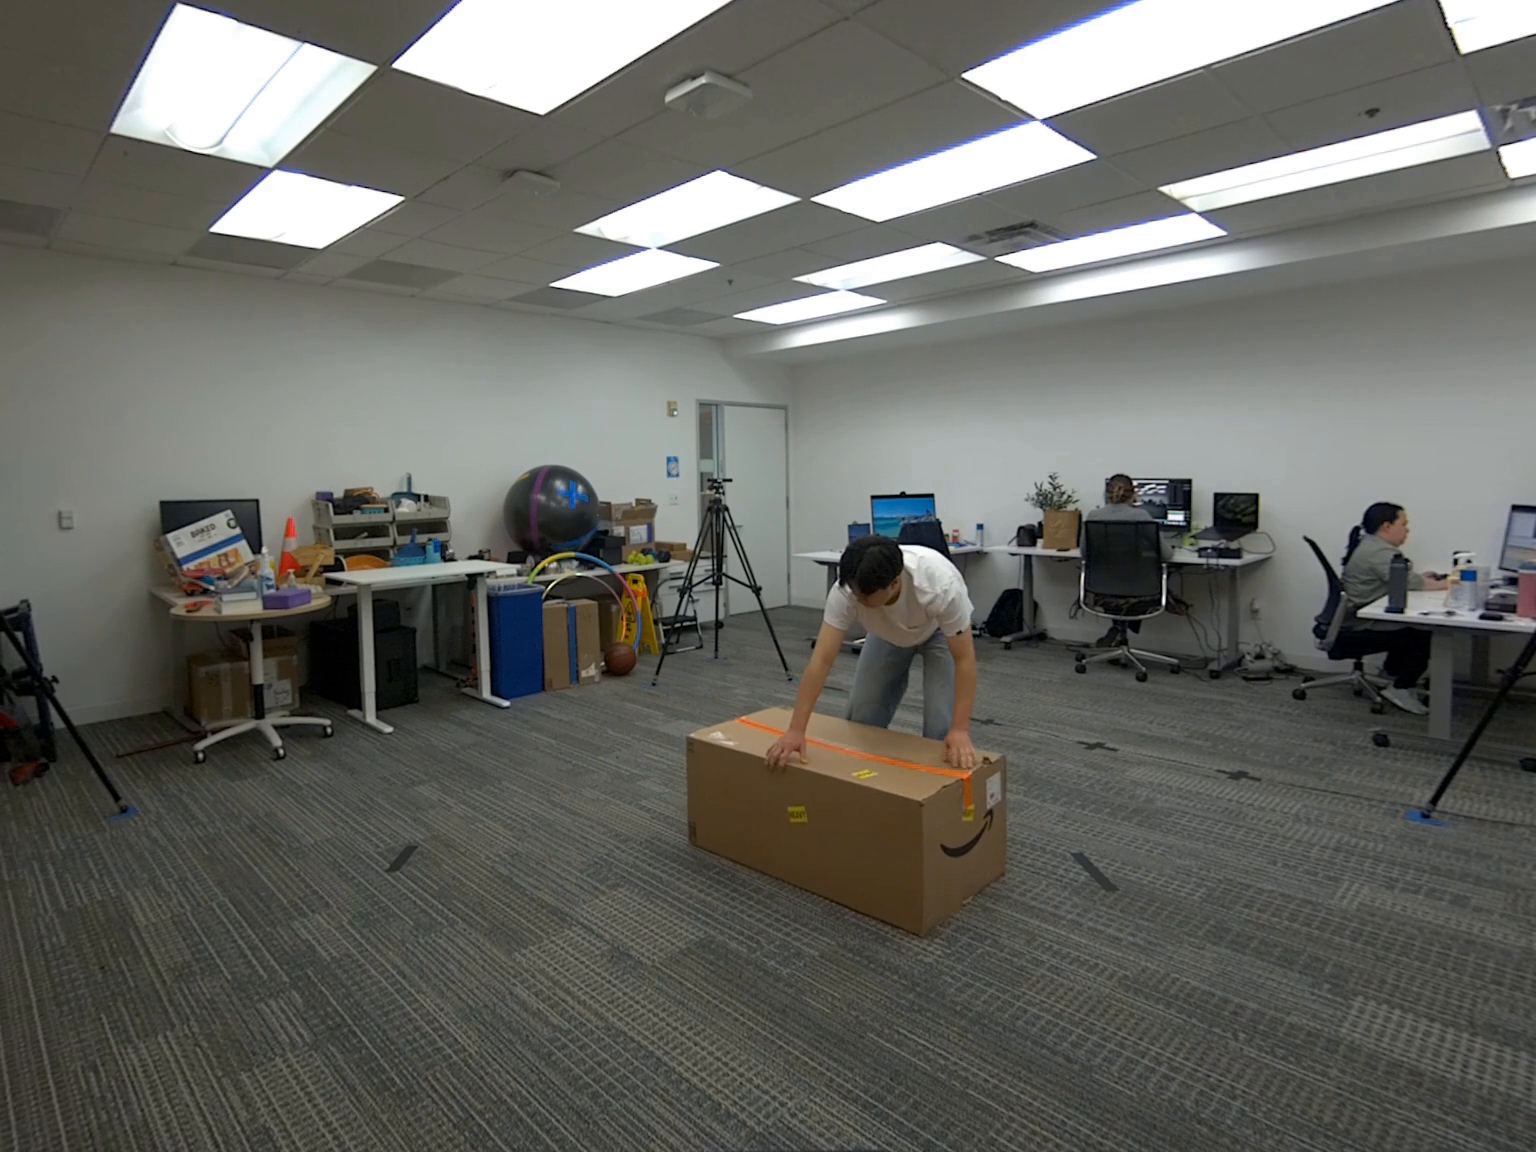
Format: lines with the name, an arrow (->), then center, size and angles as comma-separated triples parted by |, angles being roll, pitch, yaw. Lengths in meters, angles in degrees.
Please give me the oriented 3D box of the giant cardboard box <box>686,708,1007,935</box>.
giant cardboard box -> 0.261, 0.825, 3.123 | 1.057, 0.424, 0.563 | 5, 8, 42
